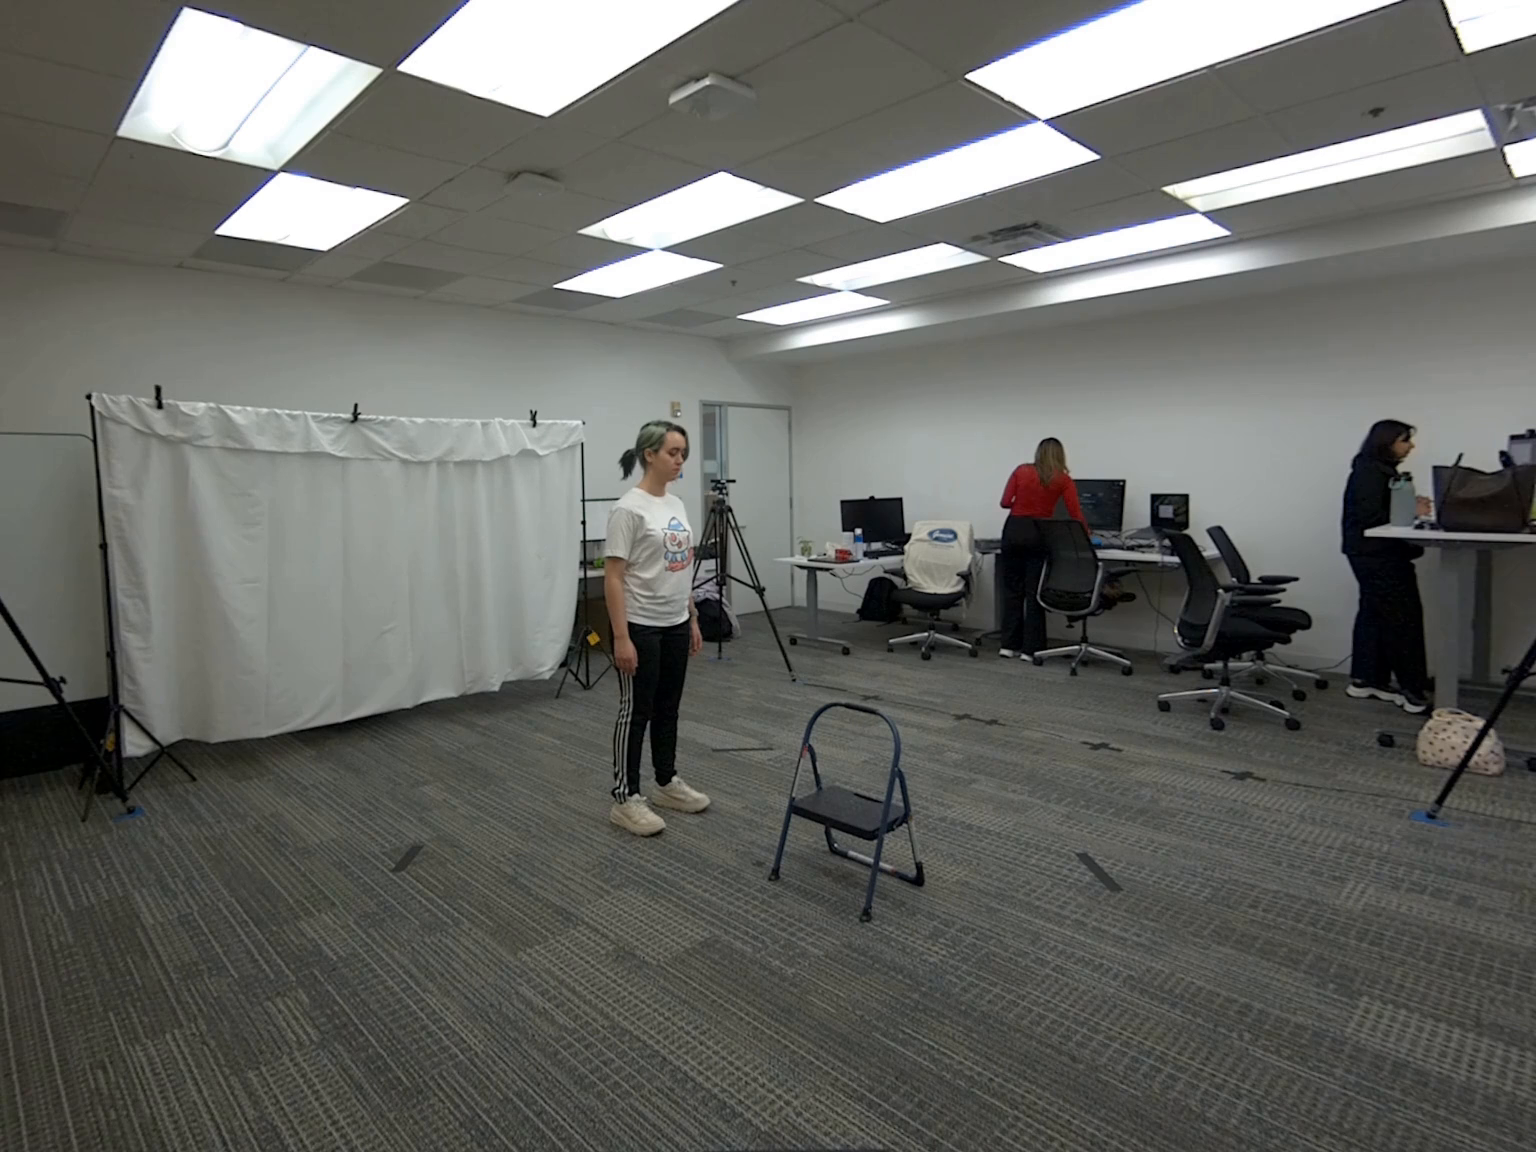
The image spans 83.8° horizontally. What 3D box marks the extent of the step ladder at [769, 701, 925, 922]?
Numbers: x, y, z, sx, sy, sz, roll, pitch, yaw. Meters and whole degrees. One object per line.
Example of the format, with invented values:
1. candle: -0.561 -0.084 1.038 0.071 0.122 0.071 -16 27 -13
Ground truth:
1. step ladder: 0.267 0.757 2.937 0.444 0.603 0.340 4 7 45
